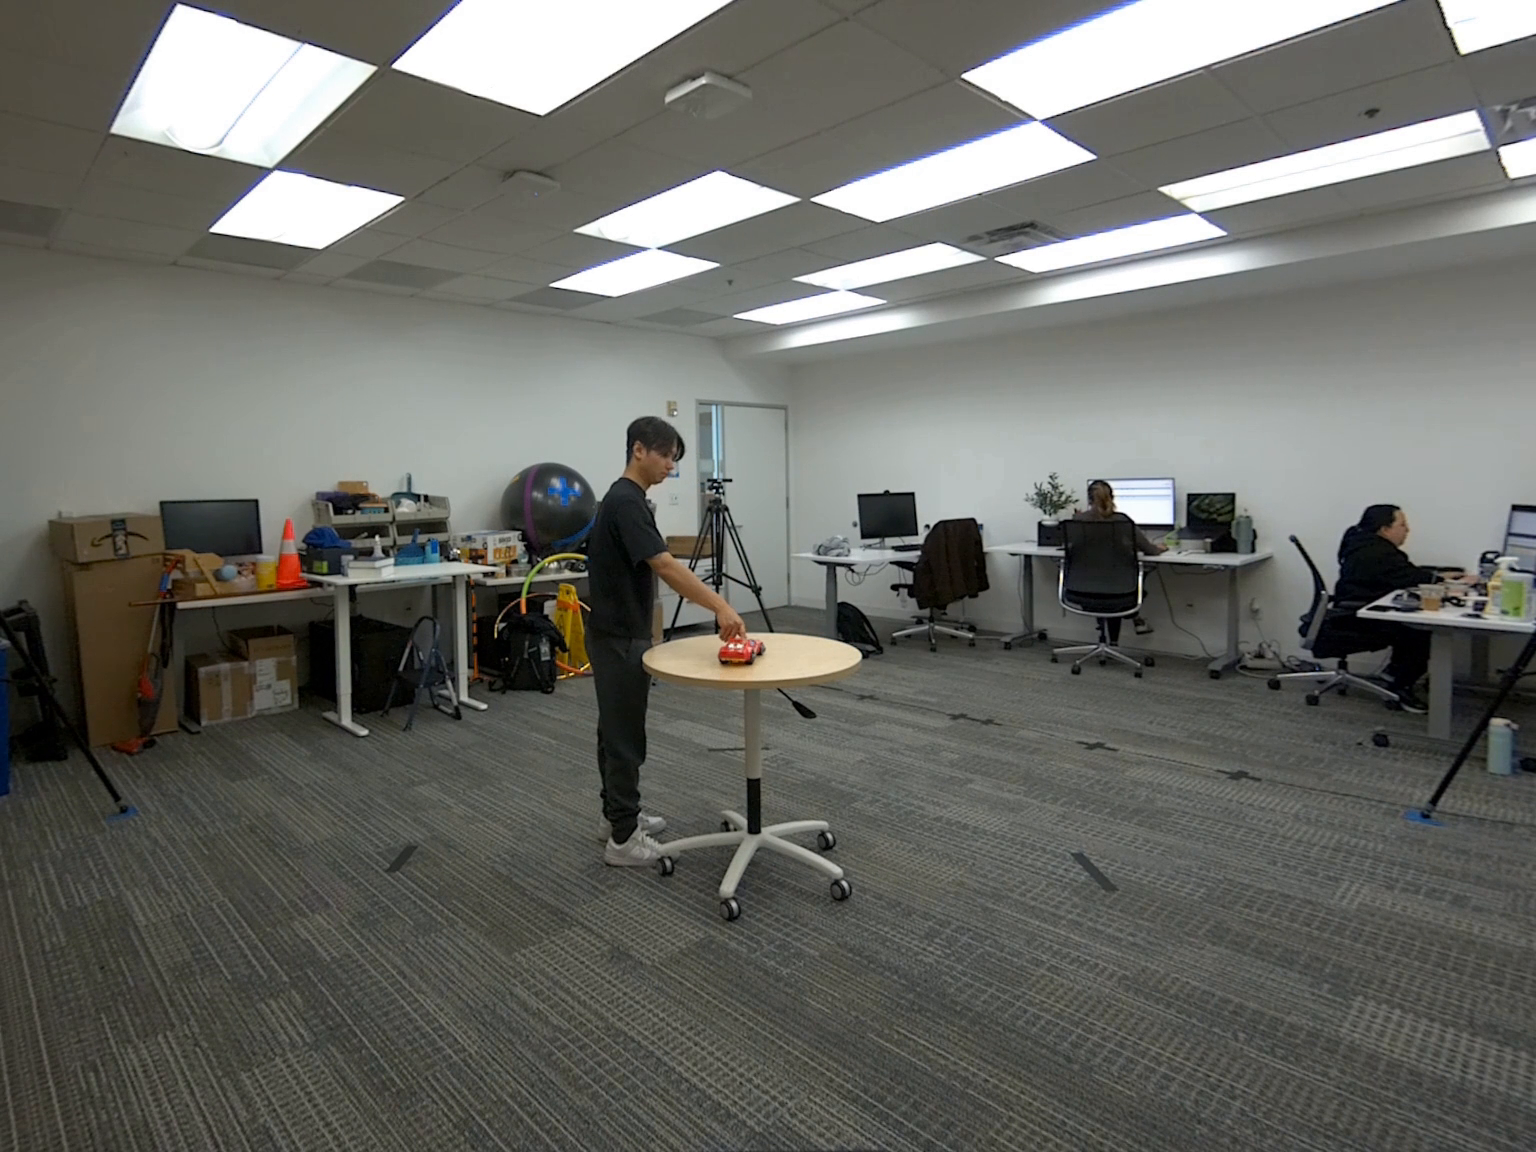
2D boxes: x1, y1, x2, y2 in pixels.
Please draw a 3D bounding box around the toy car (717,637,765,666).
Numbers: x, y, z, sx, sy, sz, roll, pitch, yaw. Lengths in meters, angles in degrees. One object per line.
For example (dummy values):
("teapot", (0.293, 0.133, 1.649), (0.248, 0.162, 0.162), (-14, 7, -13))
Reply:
("toy car", (-0.090, 0.257, 2.898), (0.132, 0.083, 0.250), (1, -4, 14))
